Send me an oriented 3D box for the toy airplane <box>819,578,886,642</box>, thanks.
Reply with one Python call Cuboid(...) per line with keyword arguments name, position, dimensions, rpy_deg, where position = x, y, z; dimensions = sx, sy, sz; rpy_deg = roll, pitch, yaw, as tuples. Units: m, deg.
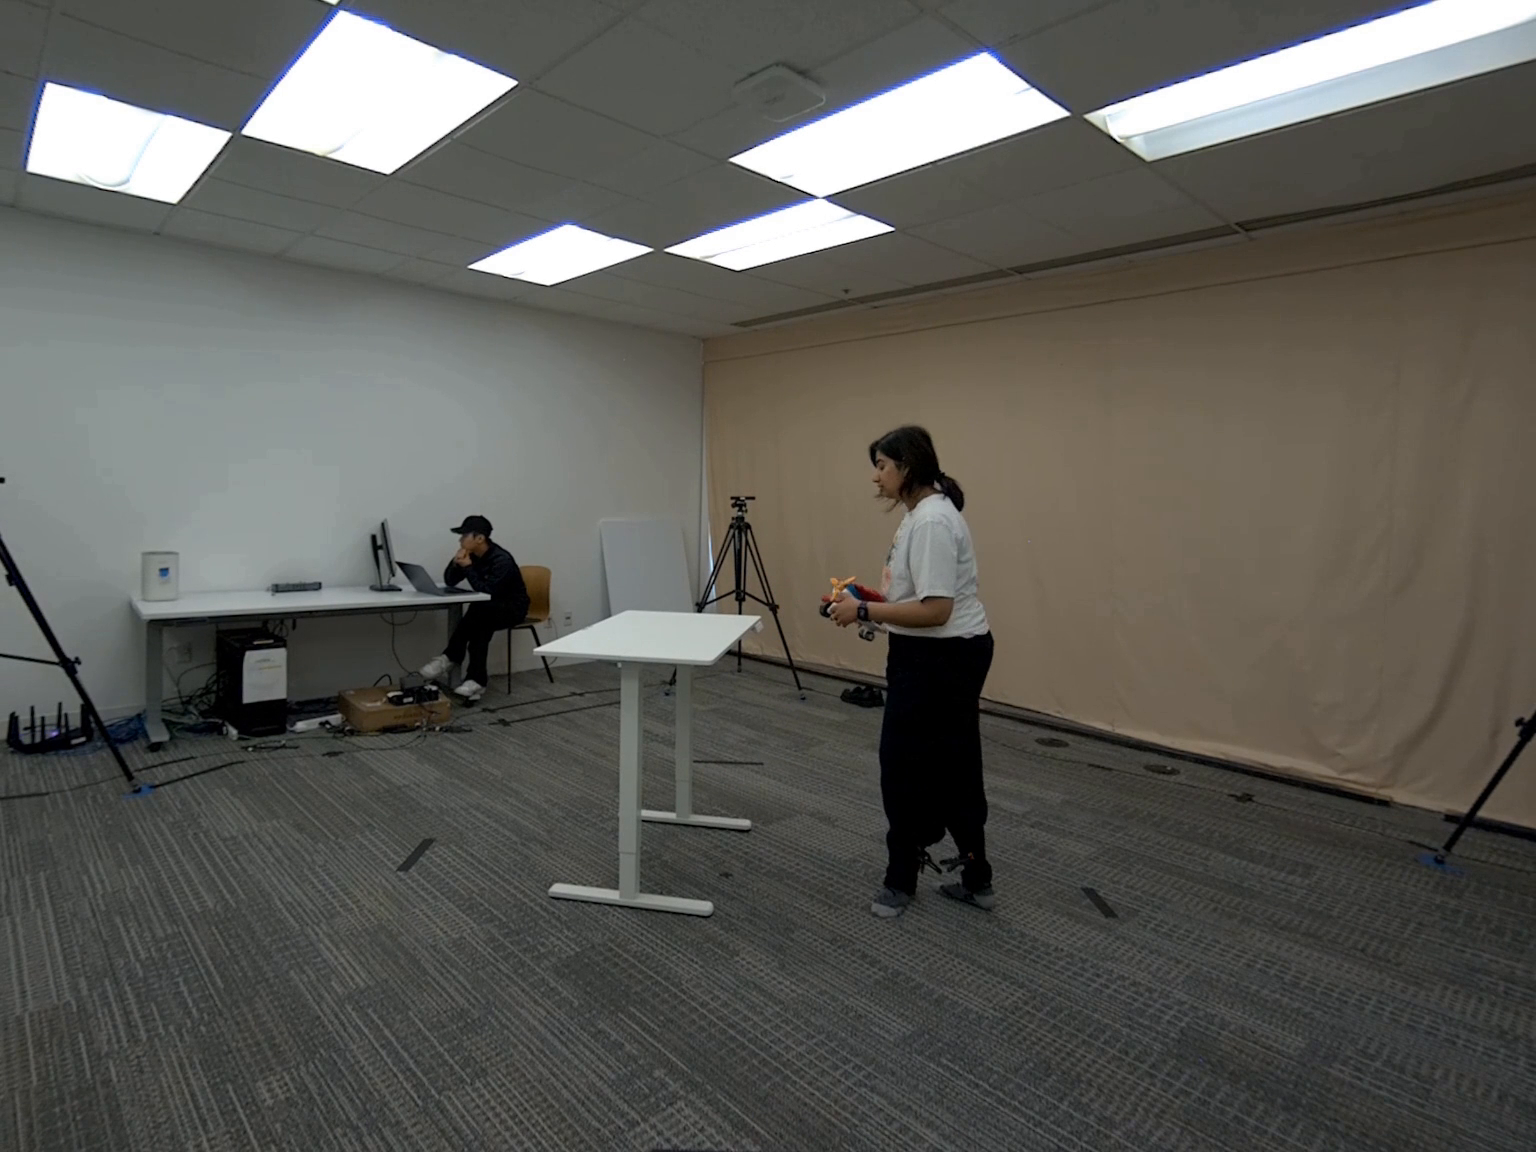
Cuboid(name="toy airplane", position=(0.304, 0.115, 2.992), dimensions=(0.258, 0.157, 0.251), rpy_deg=(21, -10, 32))
